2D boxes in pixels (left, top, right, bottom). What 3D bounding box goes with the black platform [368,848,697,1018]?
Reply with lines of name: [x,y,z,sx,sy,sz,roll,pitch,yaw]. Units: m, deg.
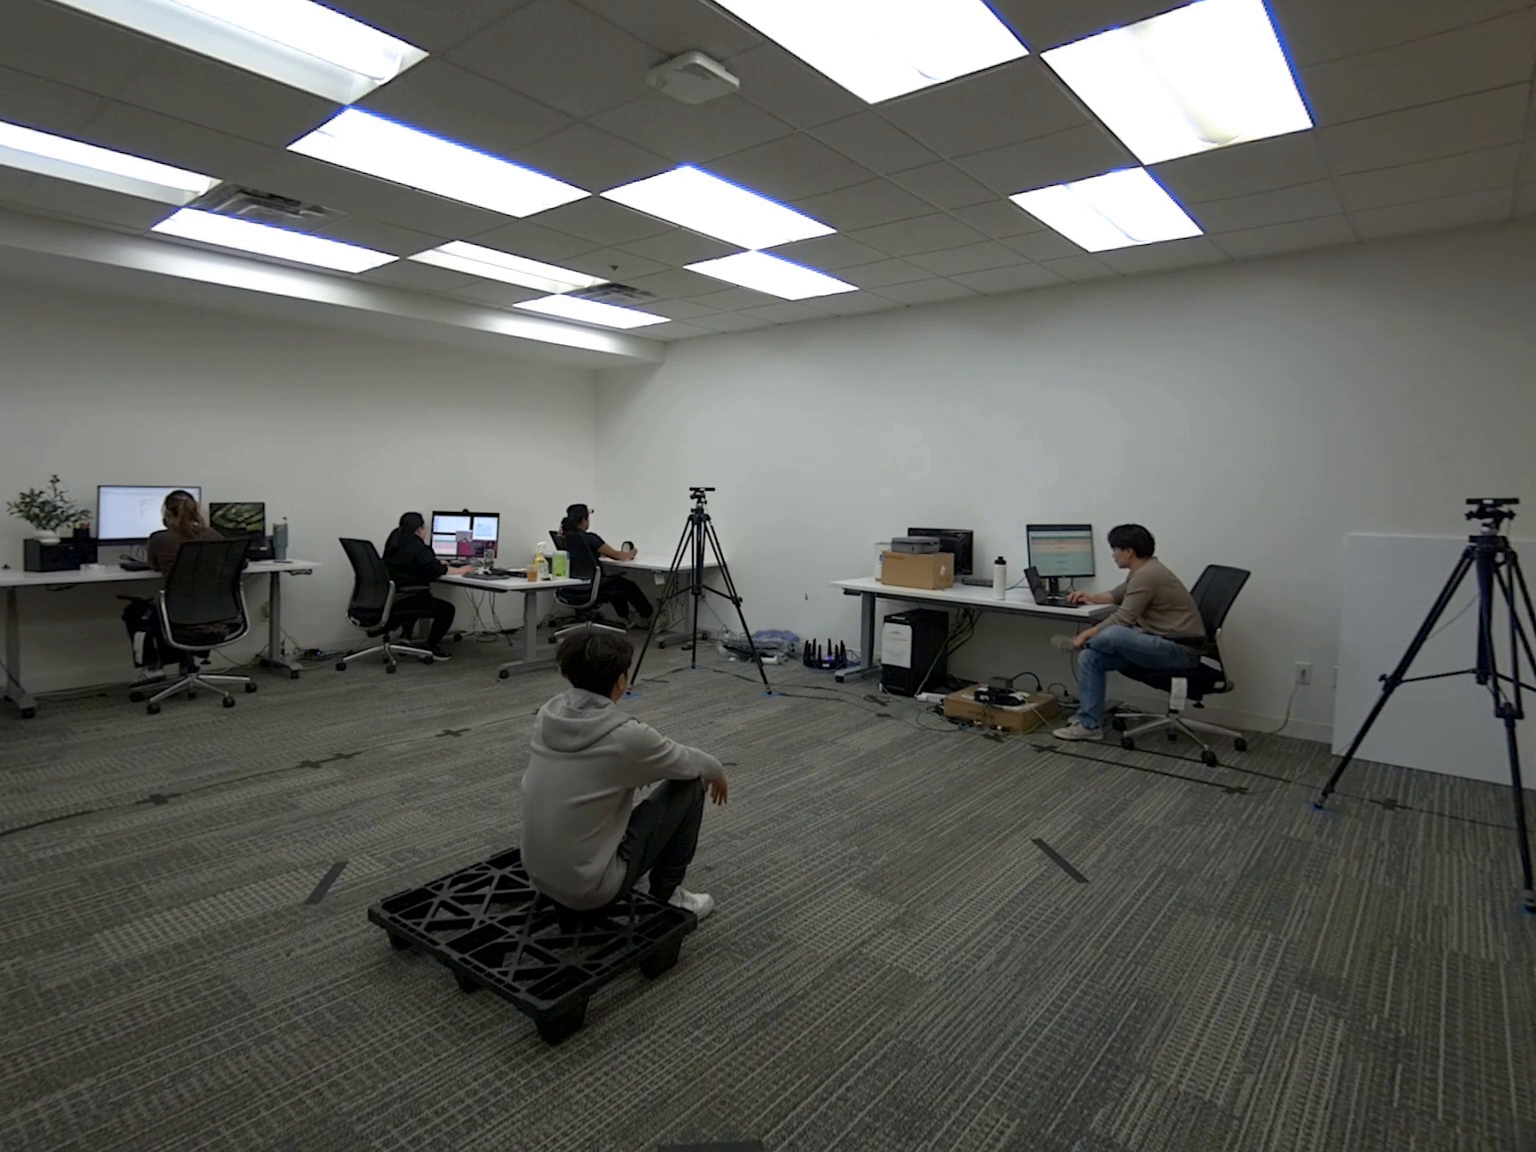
black platform: [-0.706,1.051,2.519,0.832,0.143,0.588,5,6,36]
